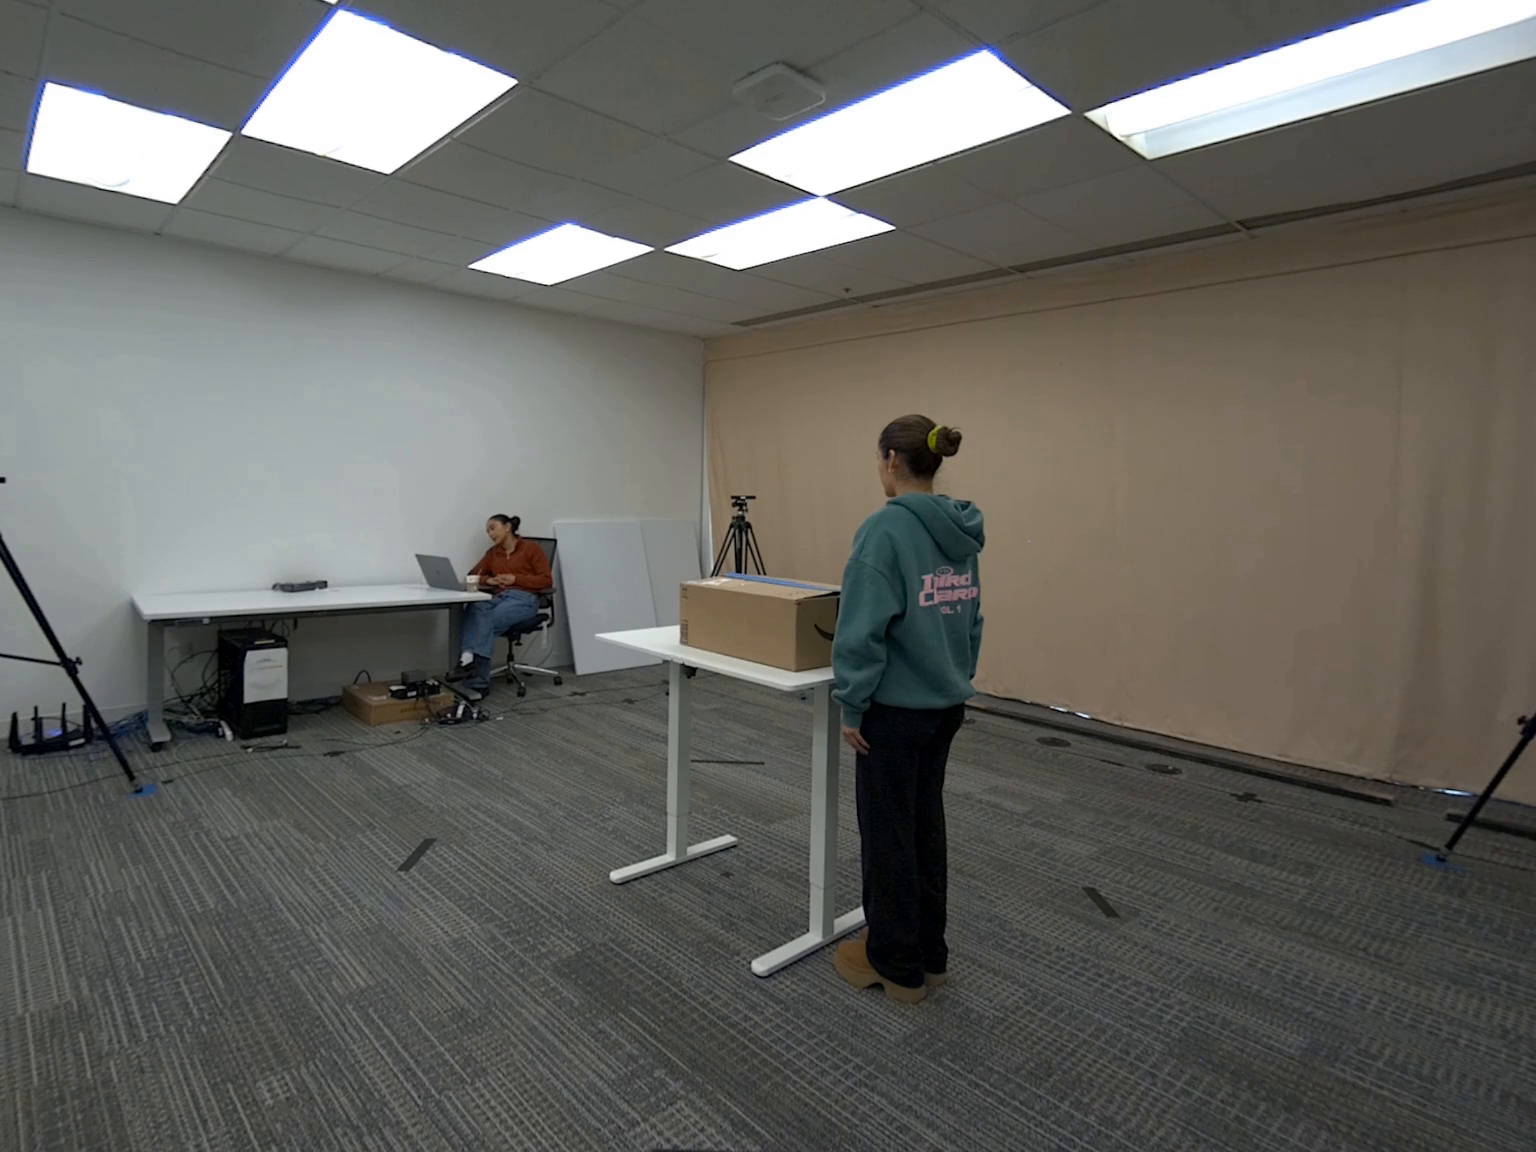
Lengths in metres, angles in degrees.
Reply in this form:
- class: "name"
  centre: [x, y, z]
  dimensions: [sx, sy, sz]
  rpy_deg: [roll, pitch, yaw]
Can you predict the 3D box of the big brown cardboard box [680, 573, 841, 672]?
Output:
- class: "big brown cardboard box"
  centre: [0.031, 0.142, 2.821]
  dimensions: [0.408, 0.232, 0.604]
  rpy_deg: [-3, 8, -42]
